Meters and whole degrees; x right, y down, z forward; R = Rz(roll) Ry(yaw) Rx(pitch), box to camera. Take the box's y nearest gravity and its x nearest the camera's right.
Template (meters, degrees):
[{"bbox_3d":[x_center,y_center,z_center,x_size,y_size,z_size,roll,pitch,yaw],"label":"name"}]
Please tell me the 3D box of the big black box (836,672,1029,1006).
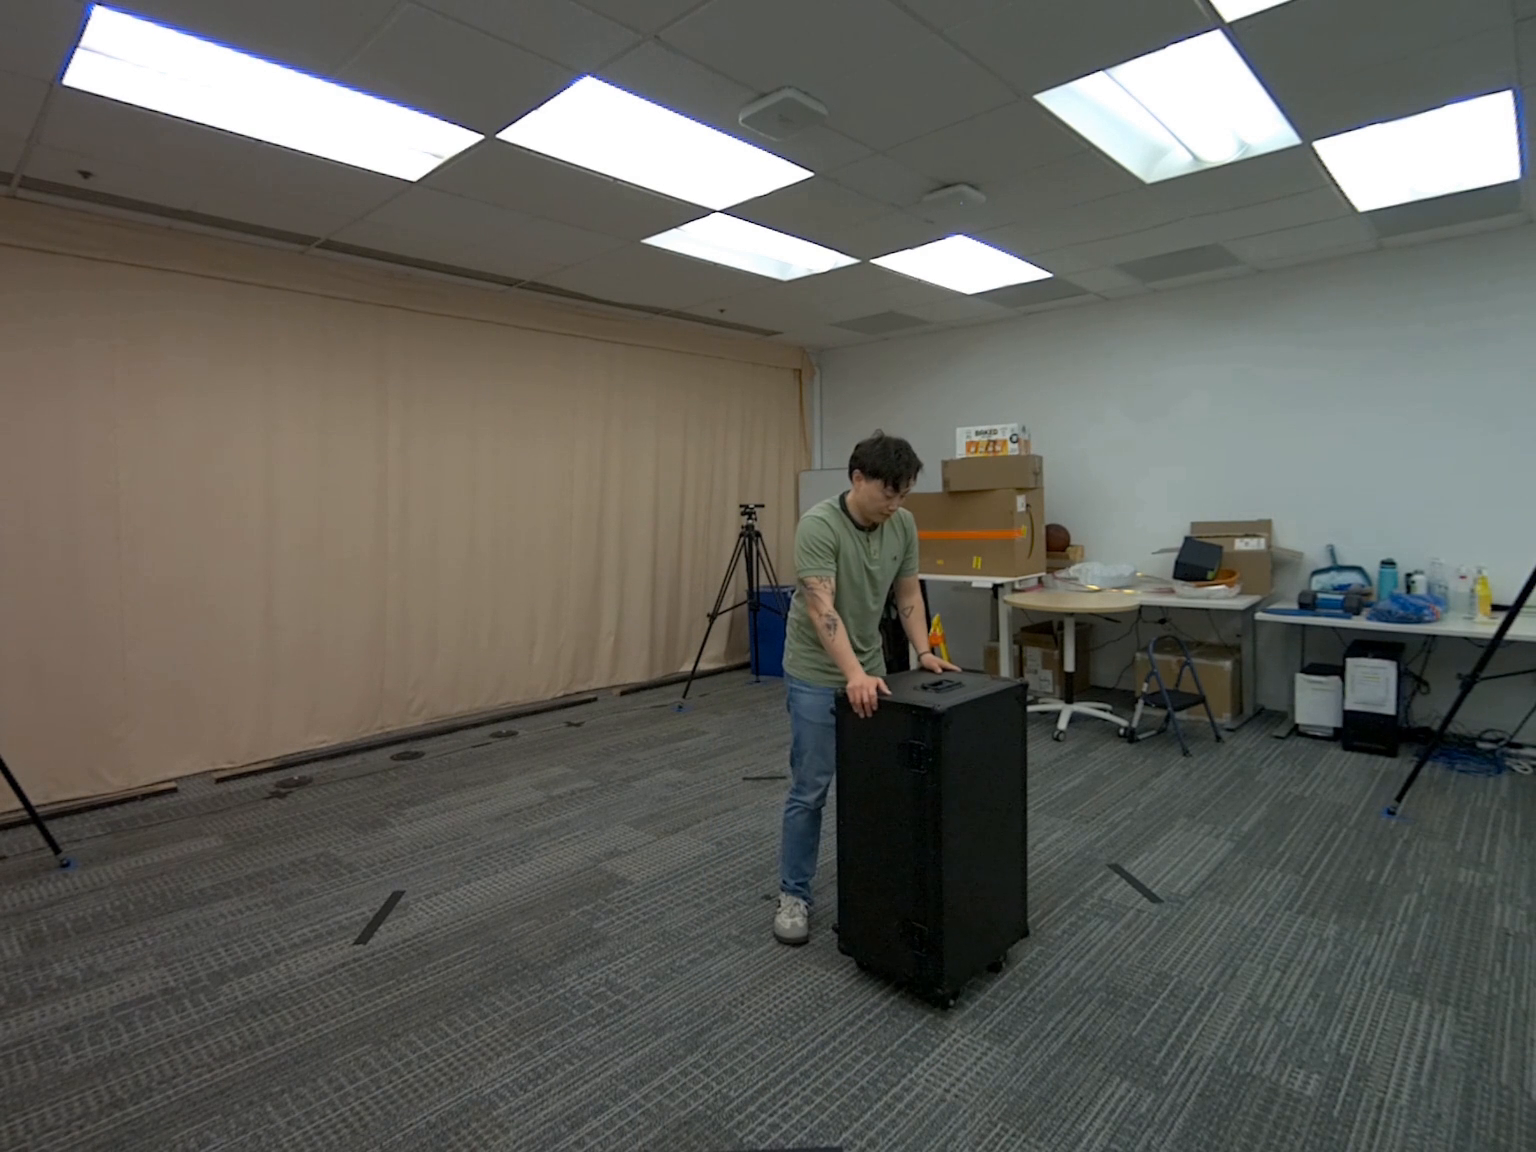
[{"bbox_3d":[0.491,0.746,2.502,0.505,0.860,0.409,-4,4,-44],"label":"big black box"}]
